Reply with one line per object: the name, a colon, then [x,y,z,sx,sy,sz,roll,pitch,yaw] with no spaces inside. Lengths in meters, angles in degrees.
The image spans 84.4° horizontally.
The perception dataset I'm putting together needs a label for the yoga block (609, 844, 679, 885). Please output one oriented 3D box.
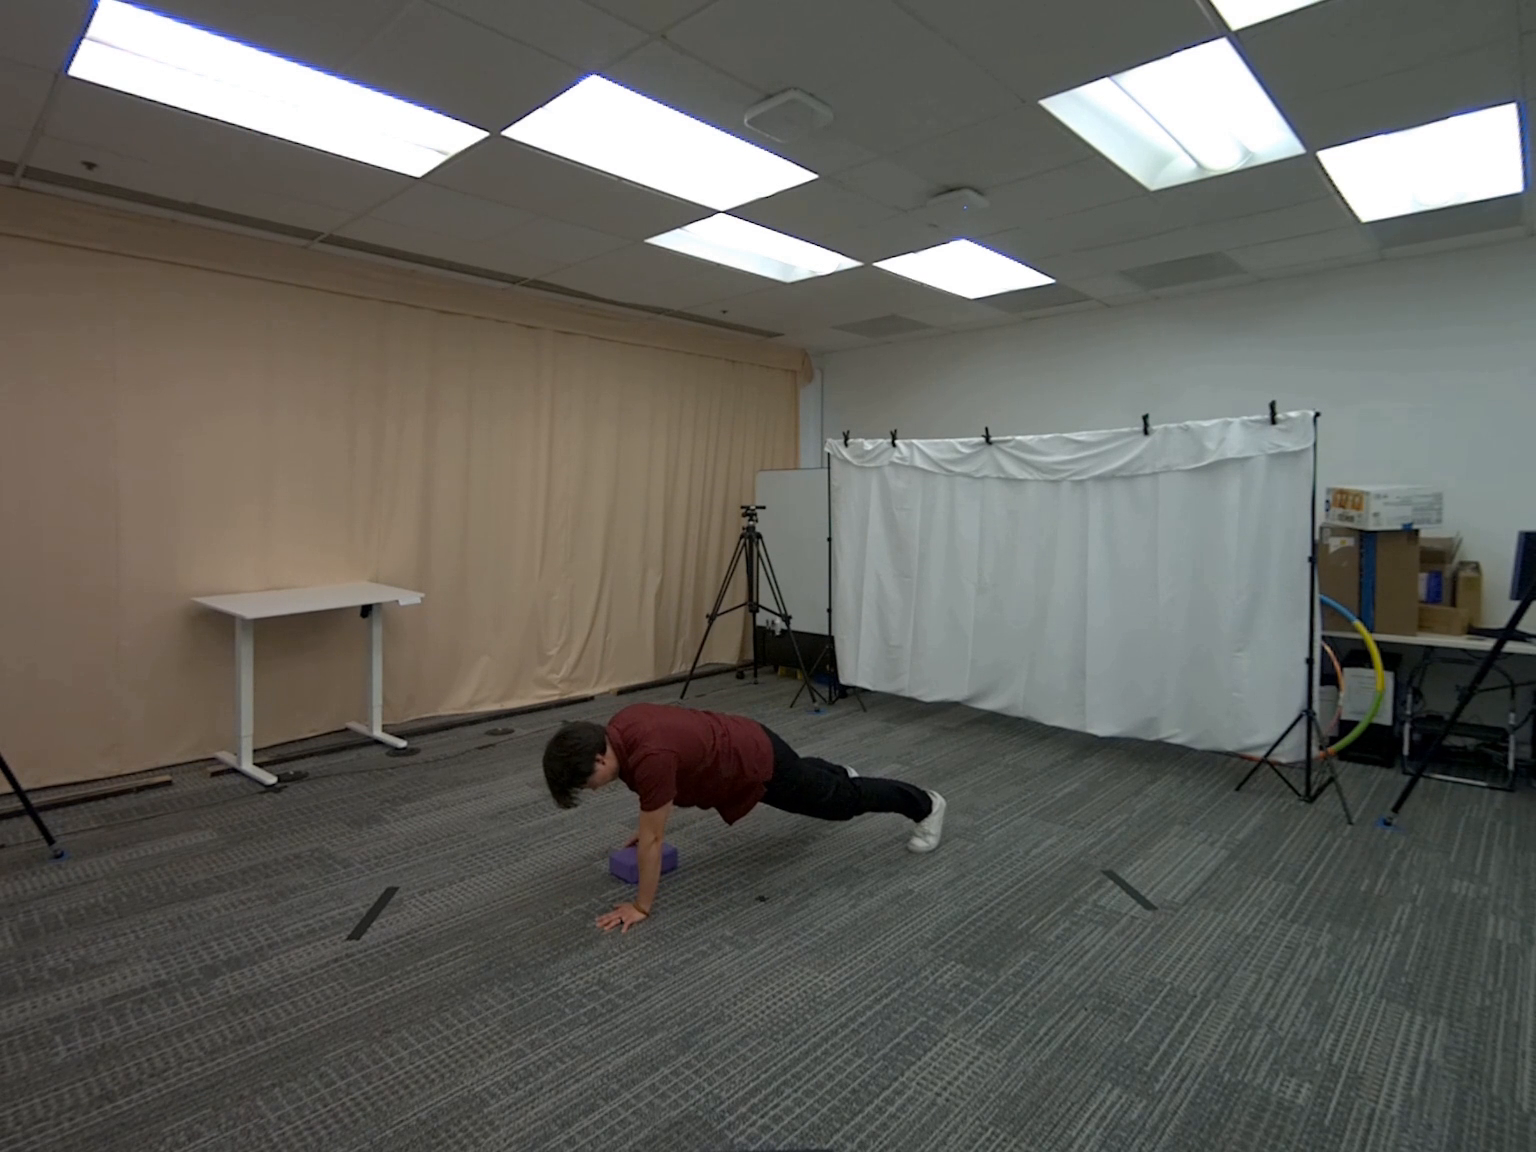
yoga block: [-0.472,1.087,3.222,0.222,0.076,0.154,-6,6,-44]
